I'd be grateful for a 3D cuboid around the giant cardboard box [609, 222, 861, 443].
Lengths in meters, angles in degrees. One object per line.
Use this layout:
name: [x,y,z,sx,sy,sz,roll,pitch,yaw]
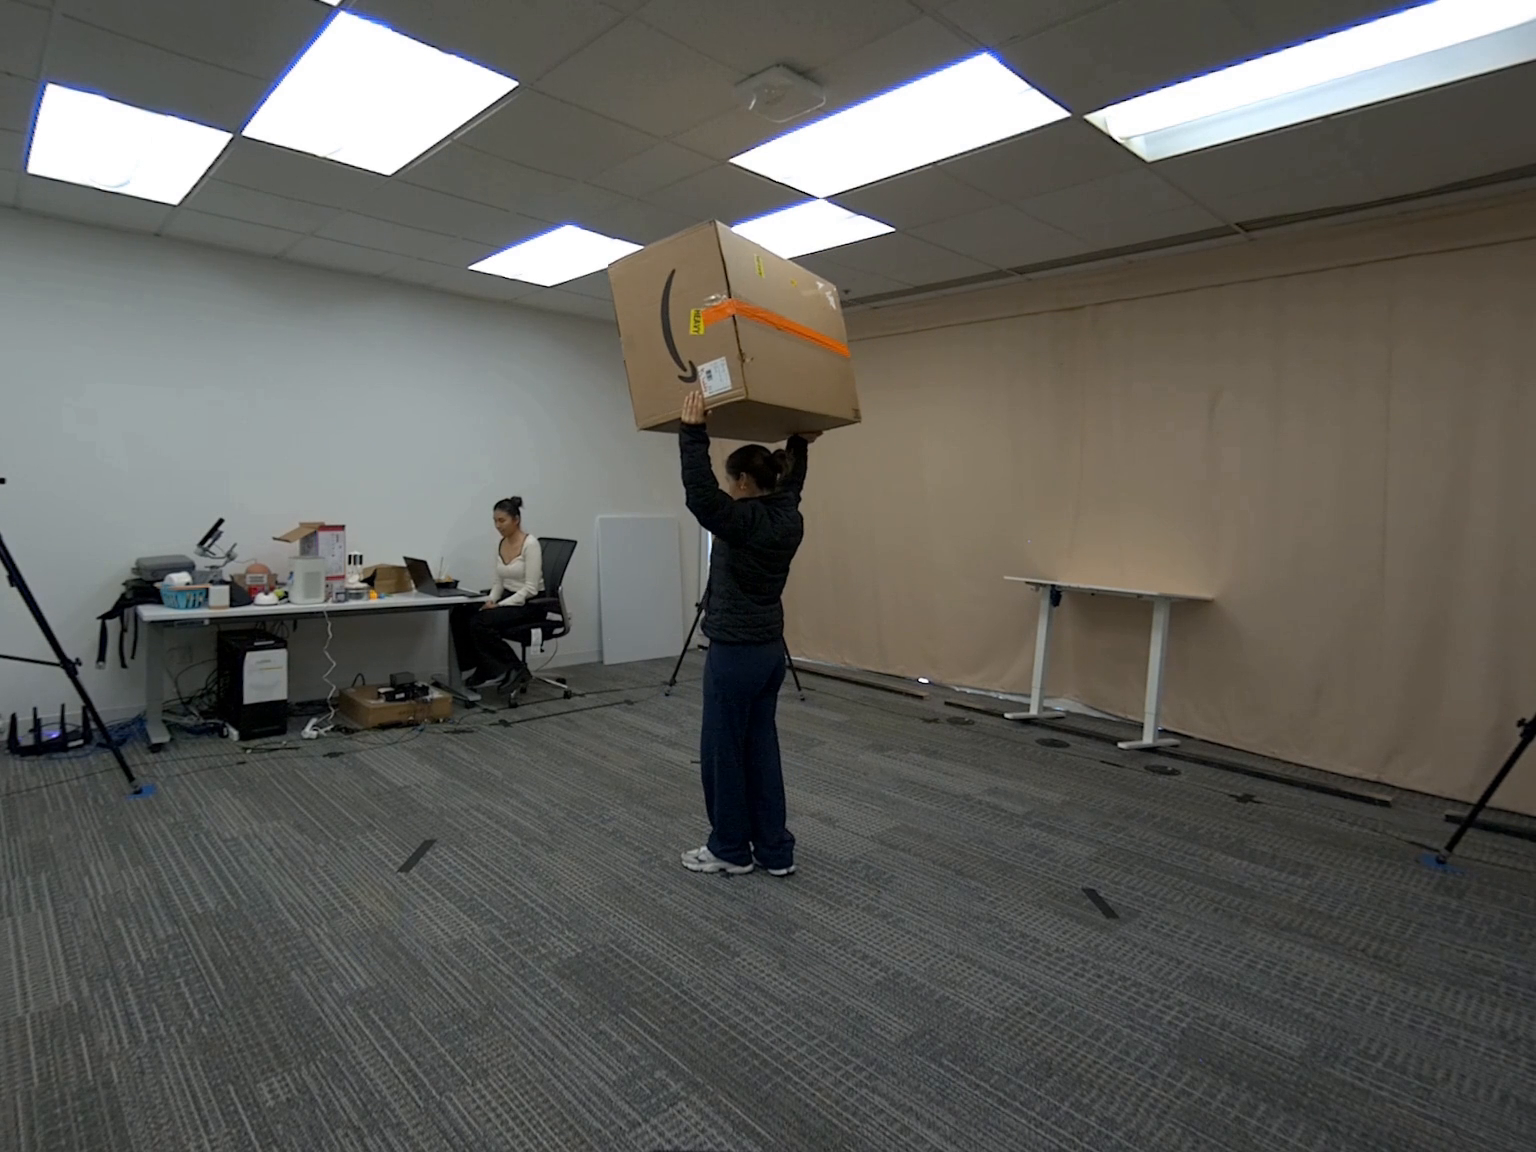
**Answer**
giant cardboard box: [-0.079,-0.834,3.117,0.454,0.584,1.011,-10,1,26]
